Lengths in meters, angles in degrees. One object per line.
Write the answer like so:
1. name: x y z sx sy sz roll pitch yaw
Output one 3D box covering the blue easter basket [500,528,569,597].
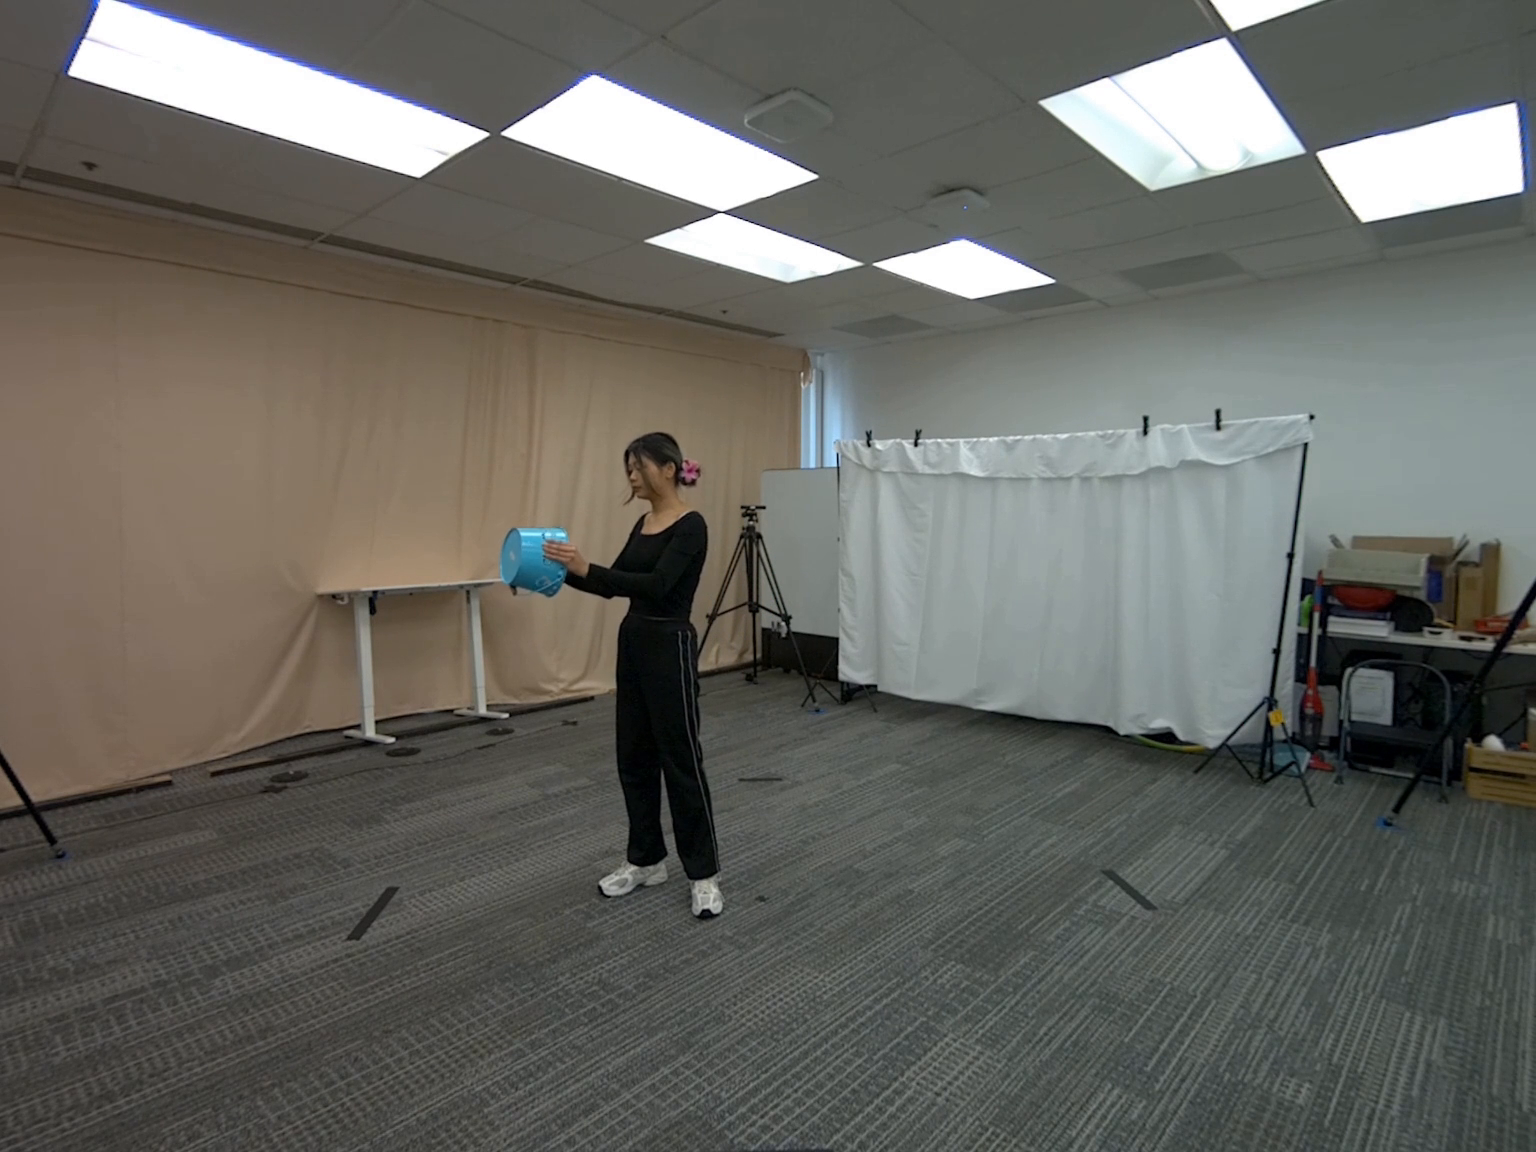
1. blue easter basket: -0.757 -0.055 2.733 0.151 0.243 0.251 4 1 -36
